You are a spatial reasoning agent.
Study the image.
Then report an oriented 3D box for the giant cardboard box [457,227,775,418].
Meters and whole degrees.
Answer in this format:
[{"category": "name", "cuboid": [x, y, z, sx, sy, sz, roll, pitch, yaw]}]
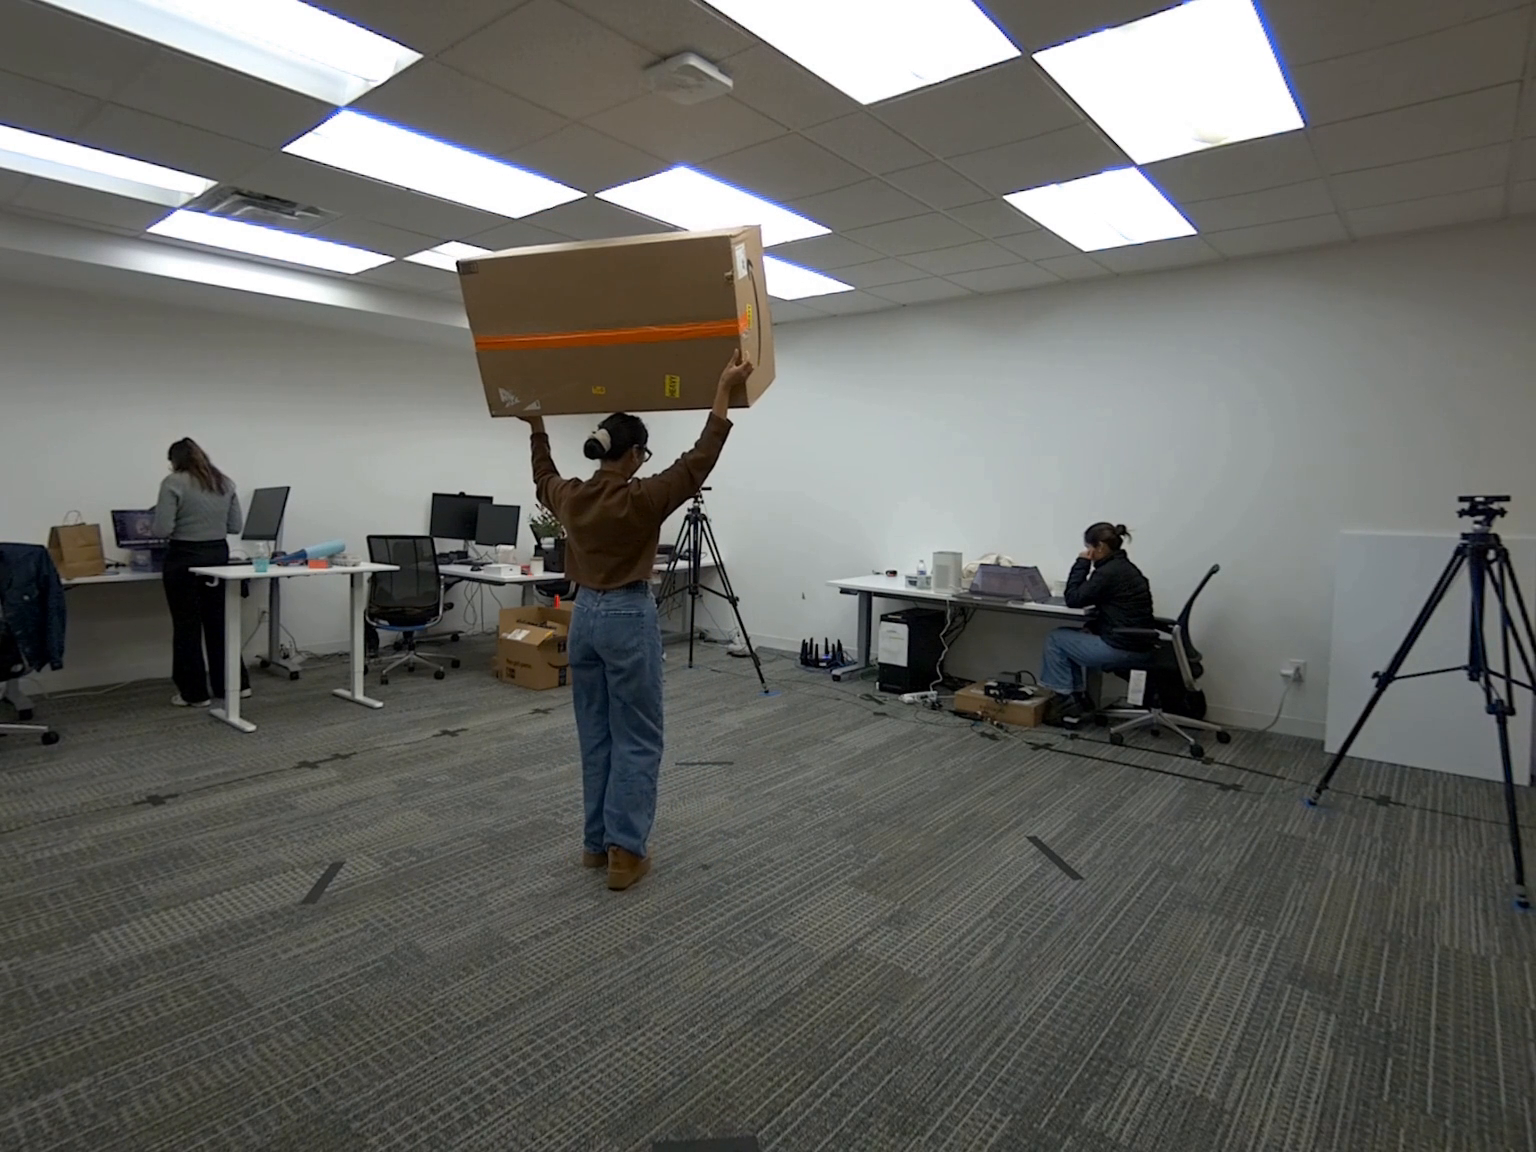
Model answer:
[{"category": "giant cardboard box", "cuboid": [-0.549, -0.937, 3.143, 1.045, 0.564, 0.428, 2, 26, 18]}]
